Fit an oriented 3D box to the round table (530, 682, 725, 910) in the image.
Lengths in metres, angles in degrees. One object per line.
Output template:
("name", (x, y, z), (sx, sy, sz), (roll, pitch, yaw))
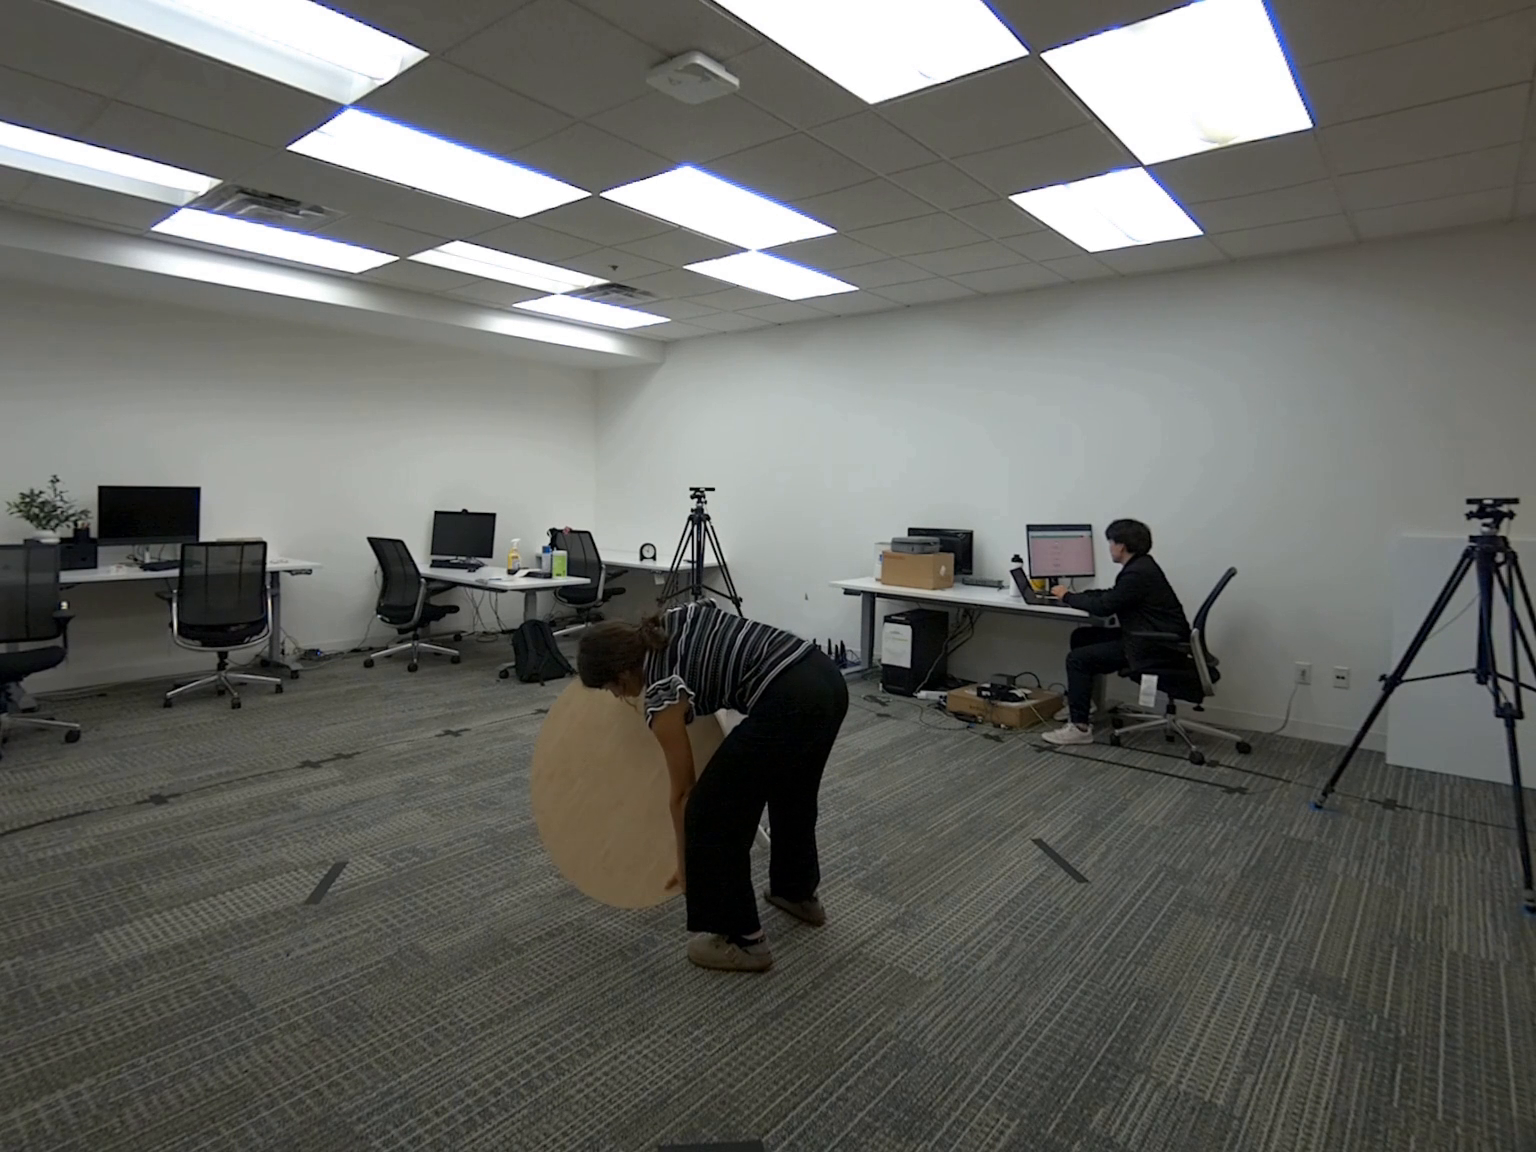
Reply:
("round table", (-0.318, 0.711, 3.071), (0.784, 0.769, 0.768), (3, -8, 26))
